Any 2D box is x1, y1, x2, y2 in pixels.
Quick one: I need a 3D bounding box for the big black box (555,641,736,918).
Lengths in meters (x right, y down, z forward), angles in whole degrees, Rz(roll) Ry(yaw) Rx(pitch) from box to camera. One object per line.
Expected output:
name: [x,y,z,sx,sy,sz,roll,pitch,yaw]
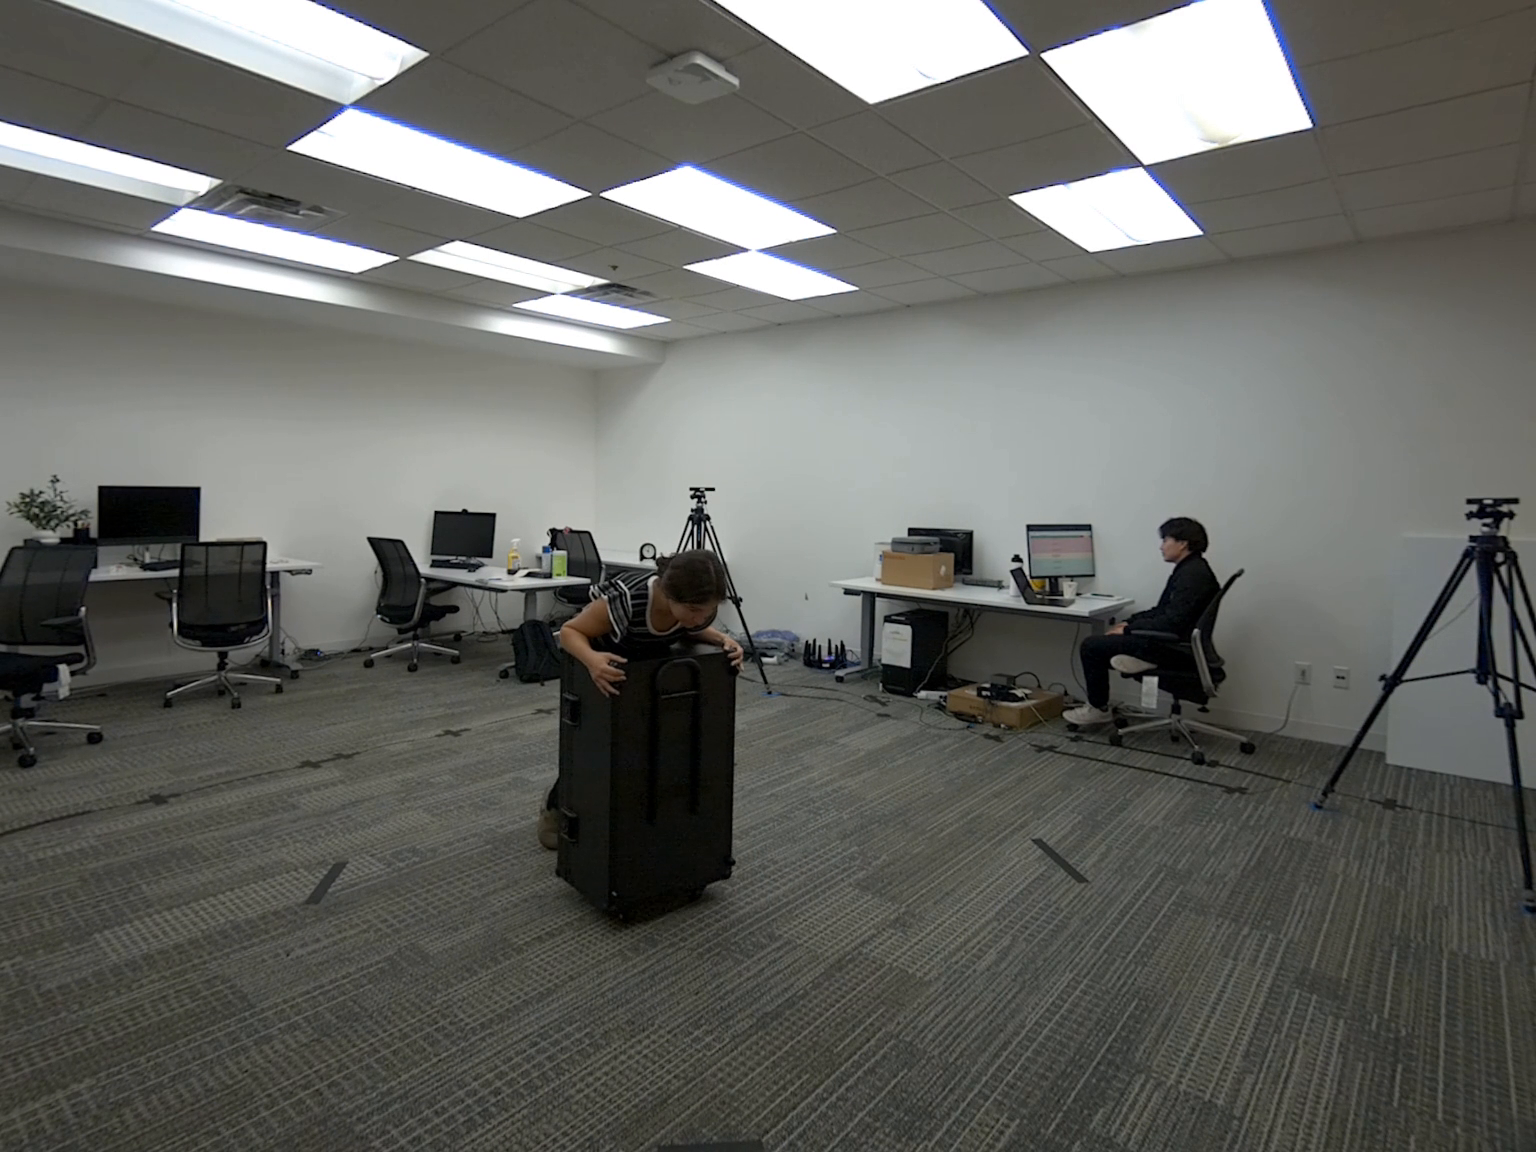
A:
big black box: [-0.404,0.672,2.855,0.506,0.858,0.410,-1,6,-38]
